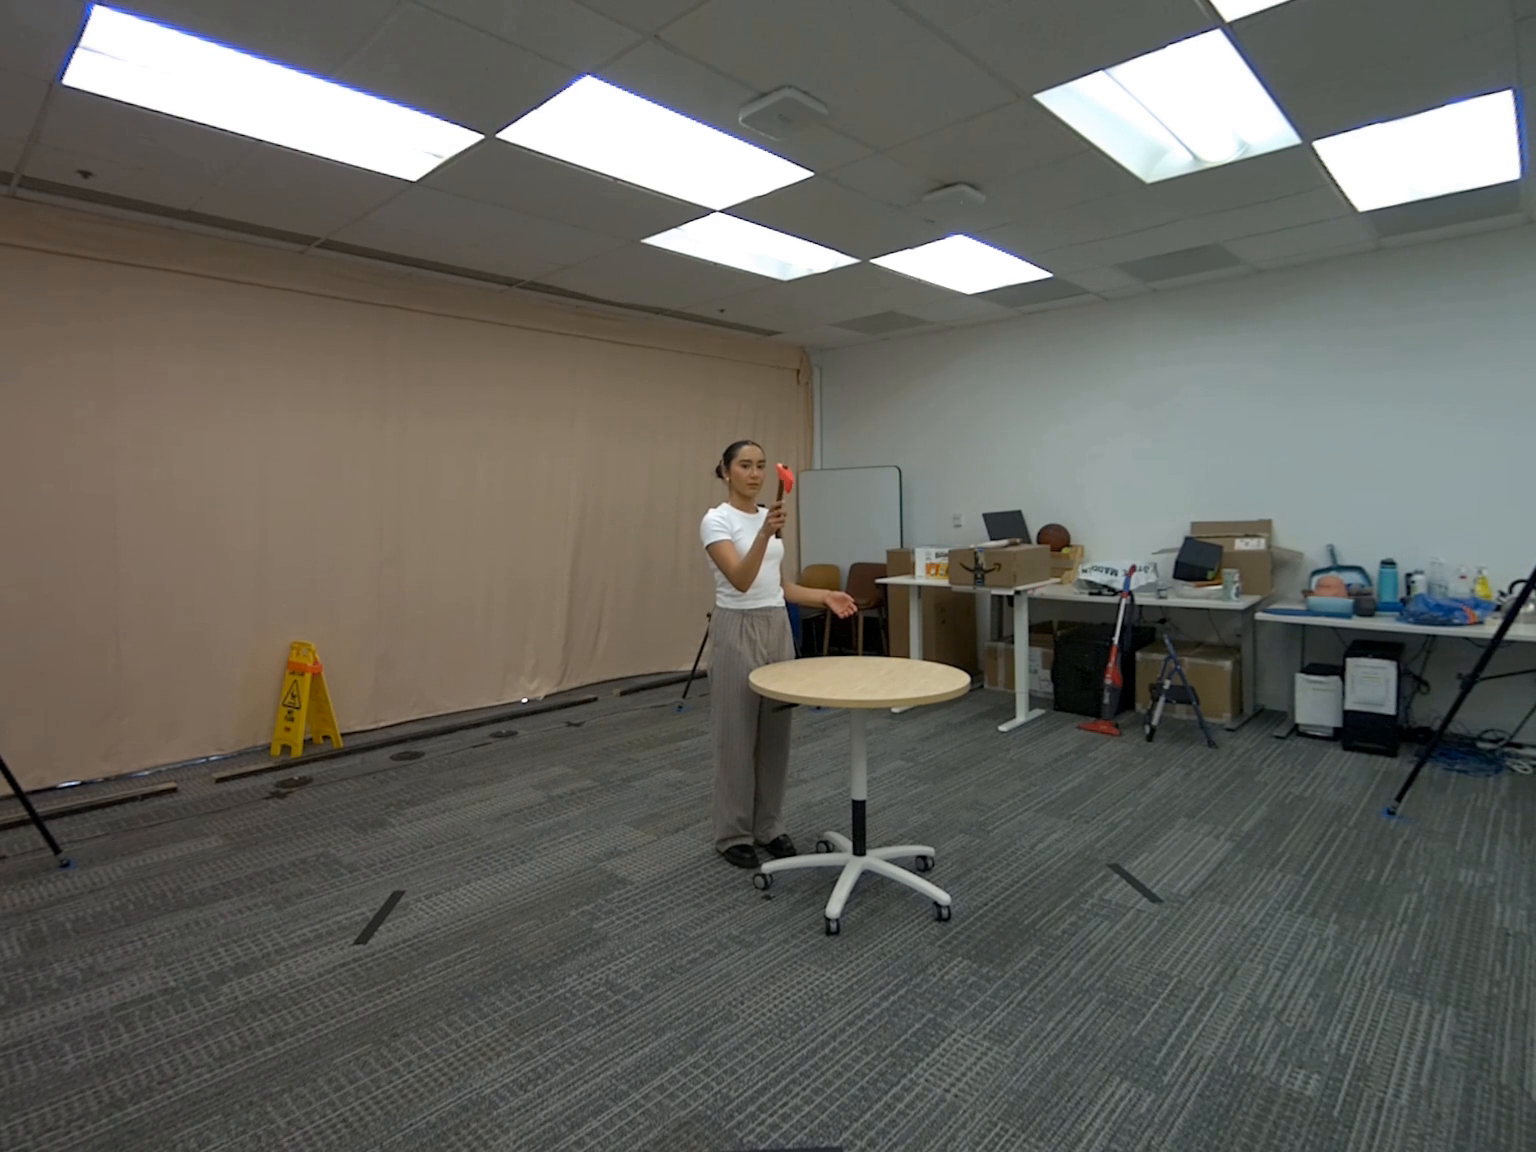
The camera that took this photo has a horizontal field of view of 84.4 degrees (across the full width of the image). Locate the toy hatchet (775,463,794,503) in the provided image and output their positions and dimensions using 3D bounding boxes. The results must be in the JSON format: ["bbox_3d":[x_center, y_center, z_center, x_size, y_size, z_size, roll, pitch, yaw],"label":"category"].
[{"bbox_3d":[0.066,-0.252,2.885,0.029,0.267,0.135,-9,19,-26],"label":"toy hatchet"}]
